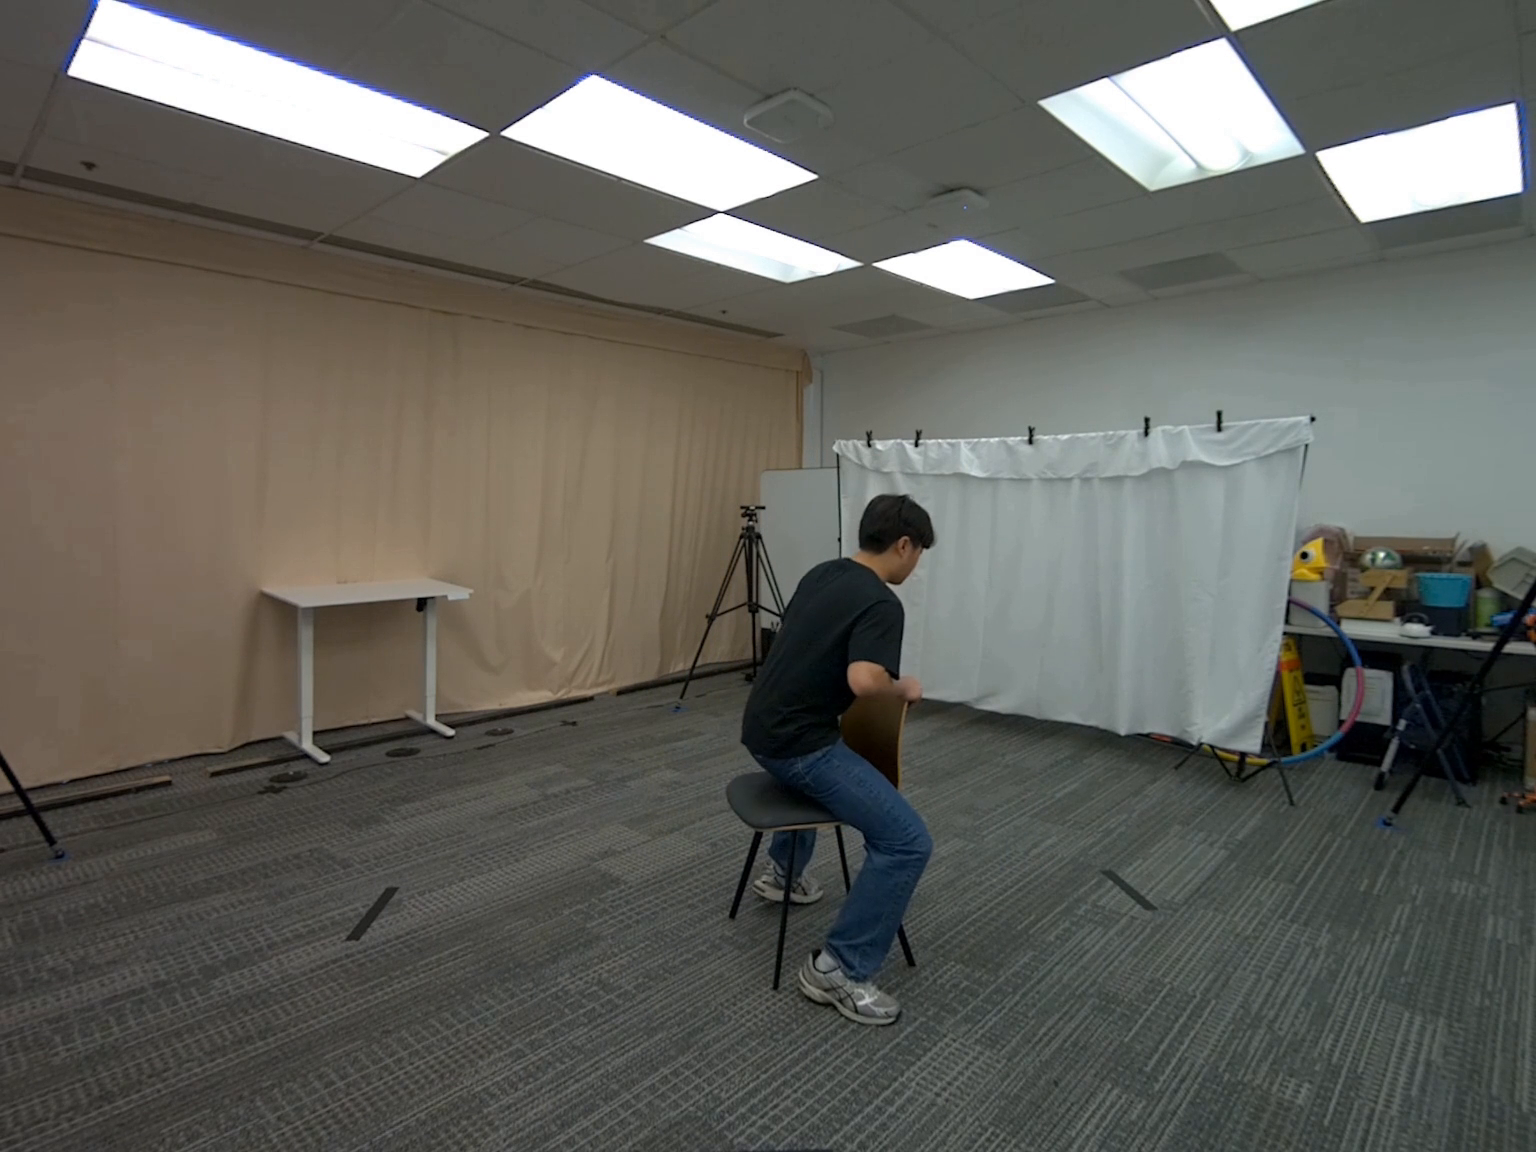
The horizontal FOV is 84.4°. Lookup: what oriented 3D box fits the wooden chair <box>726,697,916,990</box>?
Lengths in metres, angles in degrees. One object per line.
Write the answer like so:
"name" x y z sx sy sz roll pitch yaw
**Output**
"wooden chair" 0.155 0.749 2.660 0.513 0.876 0.488 3 3 -18
